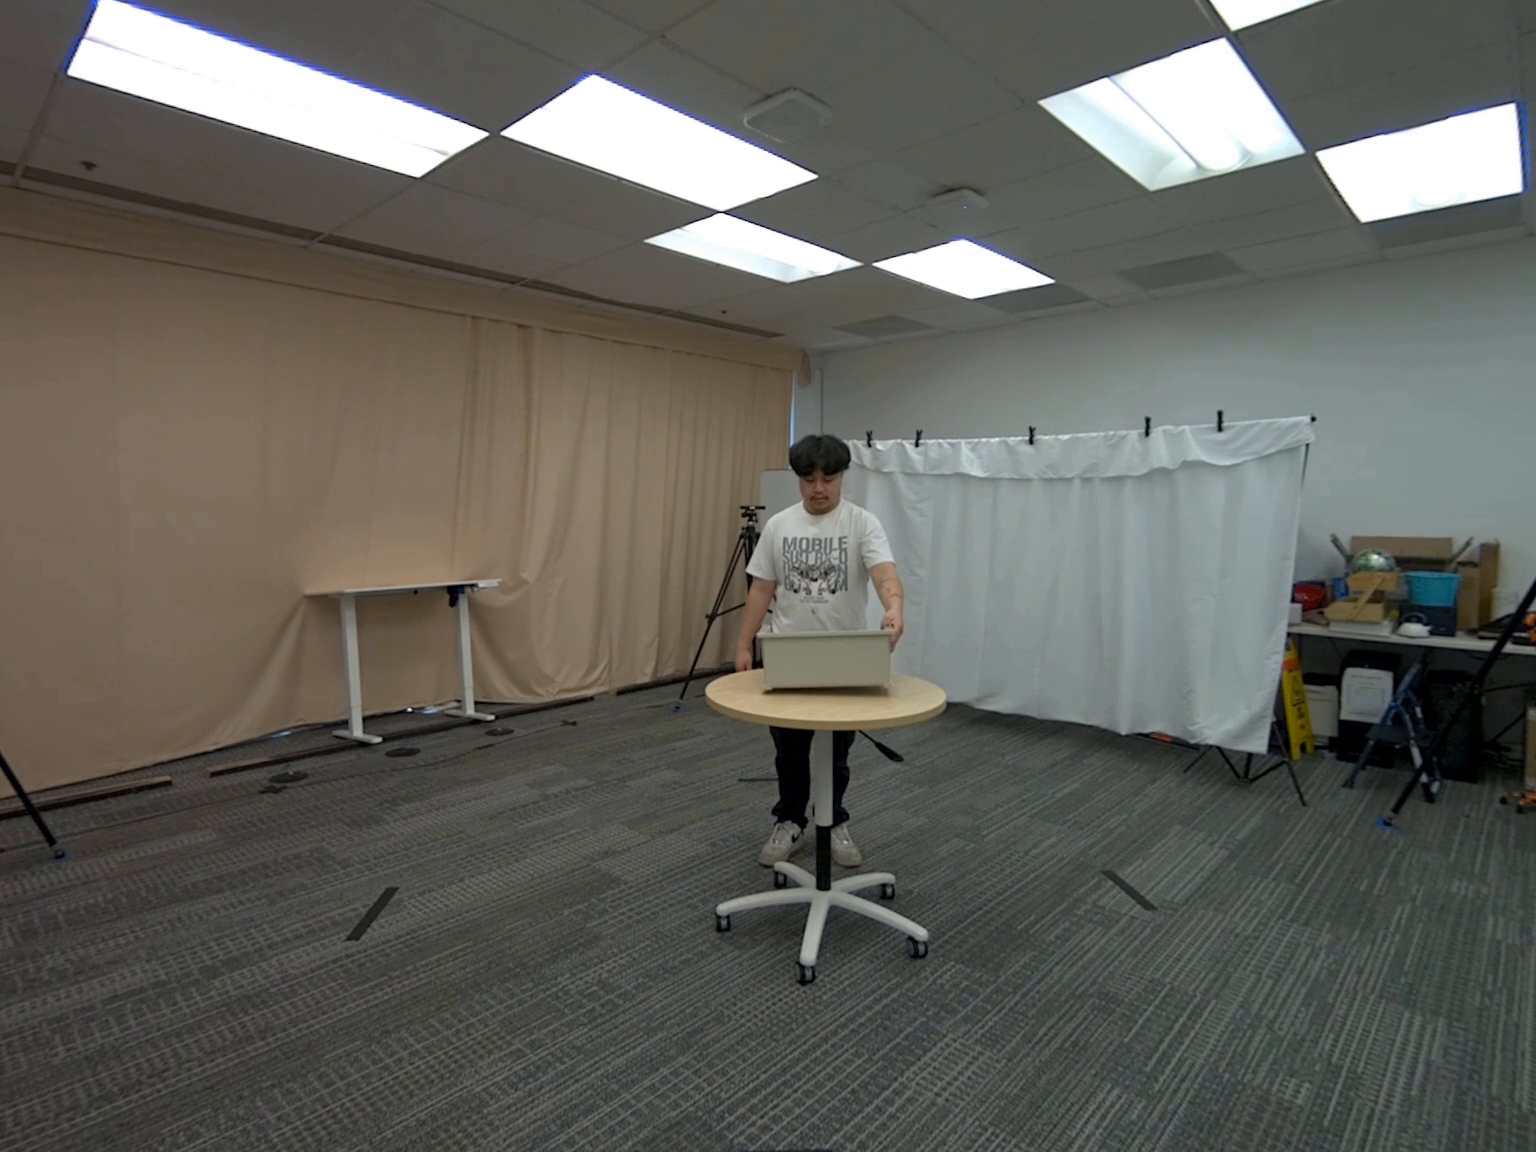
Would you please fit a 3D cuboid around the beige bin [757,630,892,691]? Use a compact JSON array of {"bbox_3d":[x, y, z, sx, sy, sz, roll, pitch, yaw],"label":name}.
[{"bbox_3d":[0.197,0.251,2.801,0.425,0.188,0.376,-2,6,5],"label":"beige bin"}]
